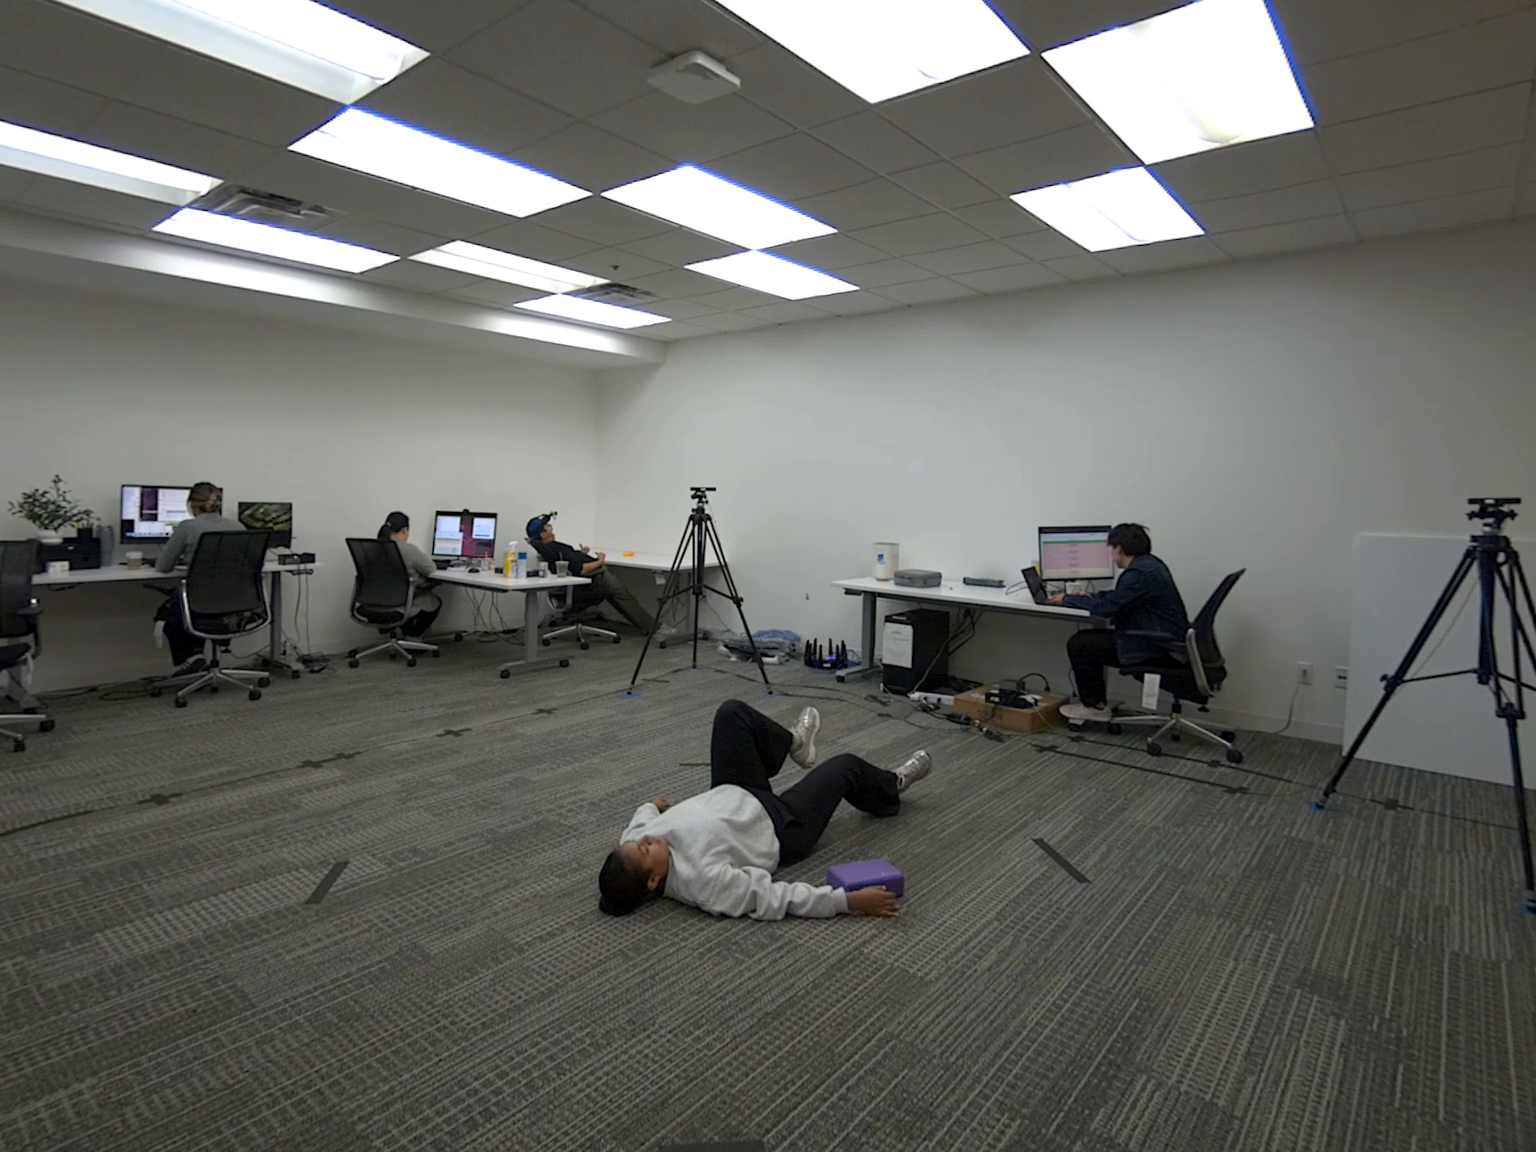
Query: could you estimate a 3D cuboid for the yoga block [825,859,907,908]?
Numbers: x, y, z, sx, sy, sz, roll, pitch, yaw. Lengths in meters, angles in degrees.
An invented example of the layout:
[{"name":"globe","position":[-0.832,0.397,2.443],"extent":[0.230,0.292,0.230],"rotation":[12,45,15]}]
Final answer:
[{"name":"yoga block","position":[0.333,1.054,2.956],"extent":[0.224,0.076,0.153],"rotation":[0,5,-24]}]
